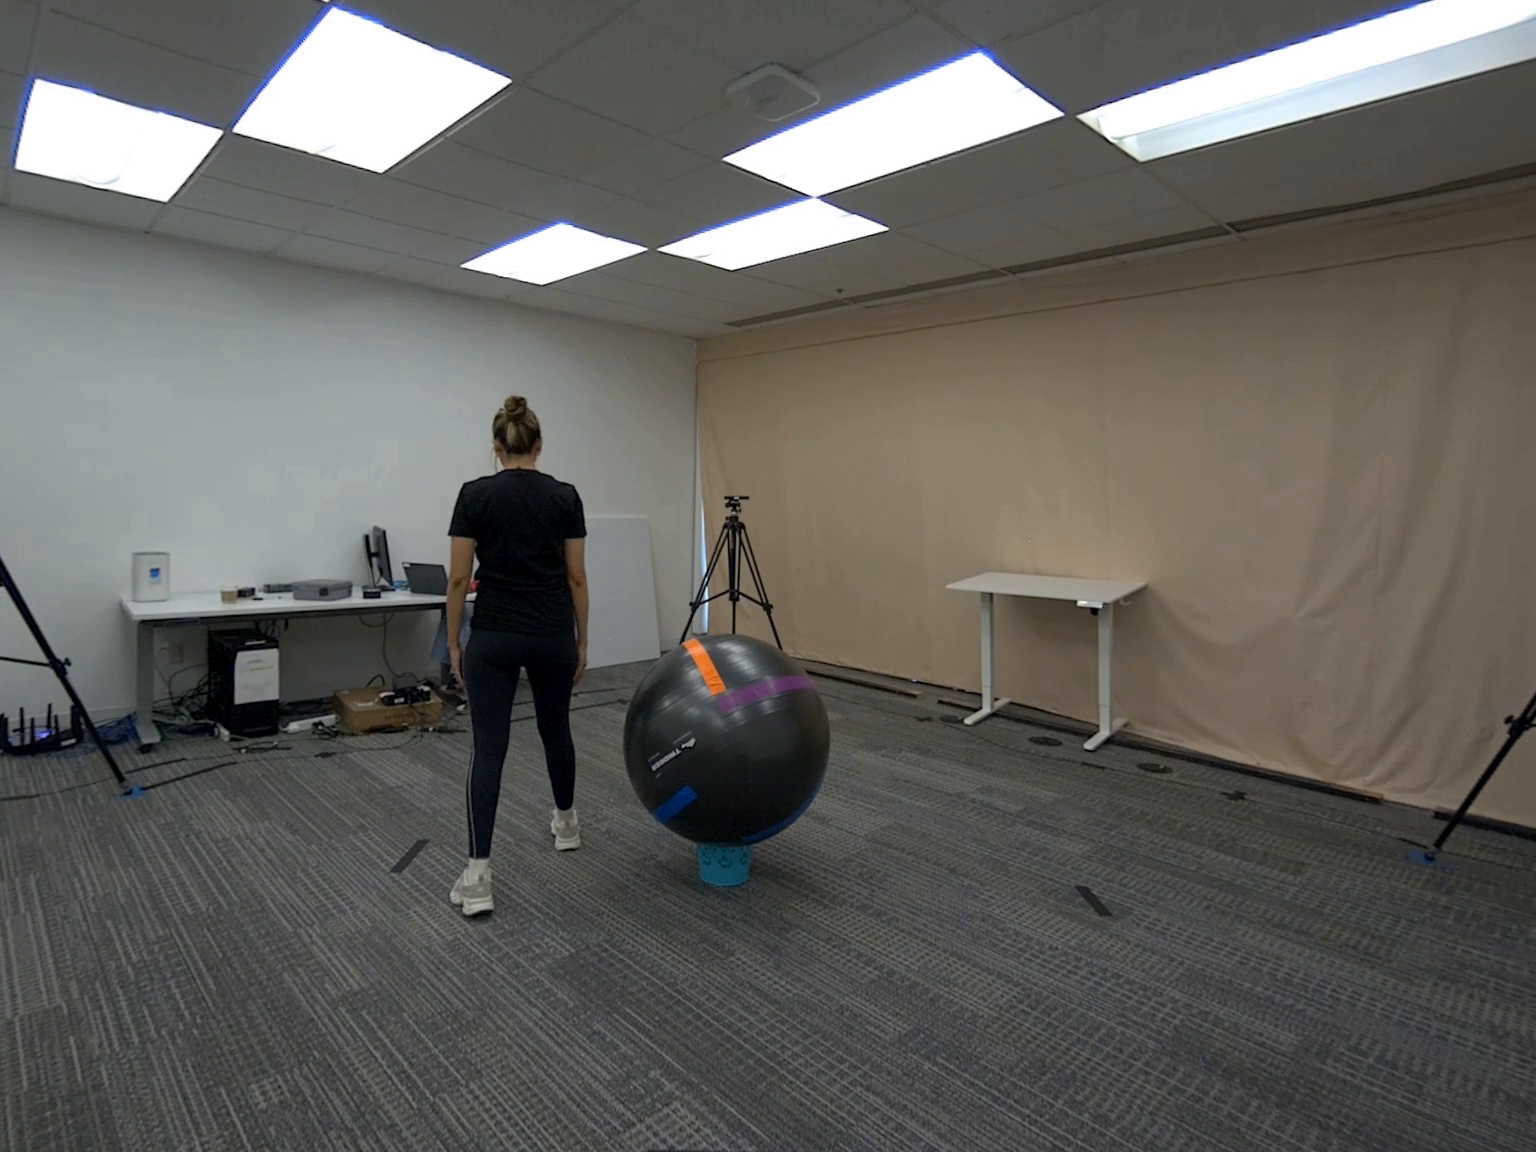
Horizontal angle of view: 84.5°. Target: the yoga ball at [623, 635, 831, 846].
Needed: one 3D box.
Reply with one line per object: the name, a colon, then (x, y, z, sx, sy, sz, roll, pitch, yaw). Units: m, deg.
yoga ball: (-0.156, 0.590, 3.081, 0.757, 0.756, 0.761, 1, 4, -1)
